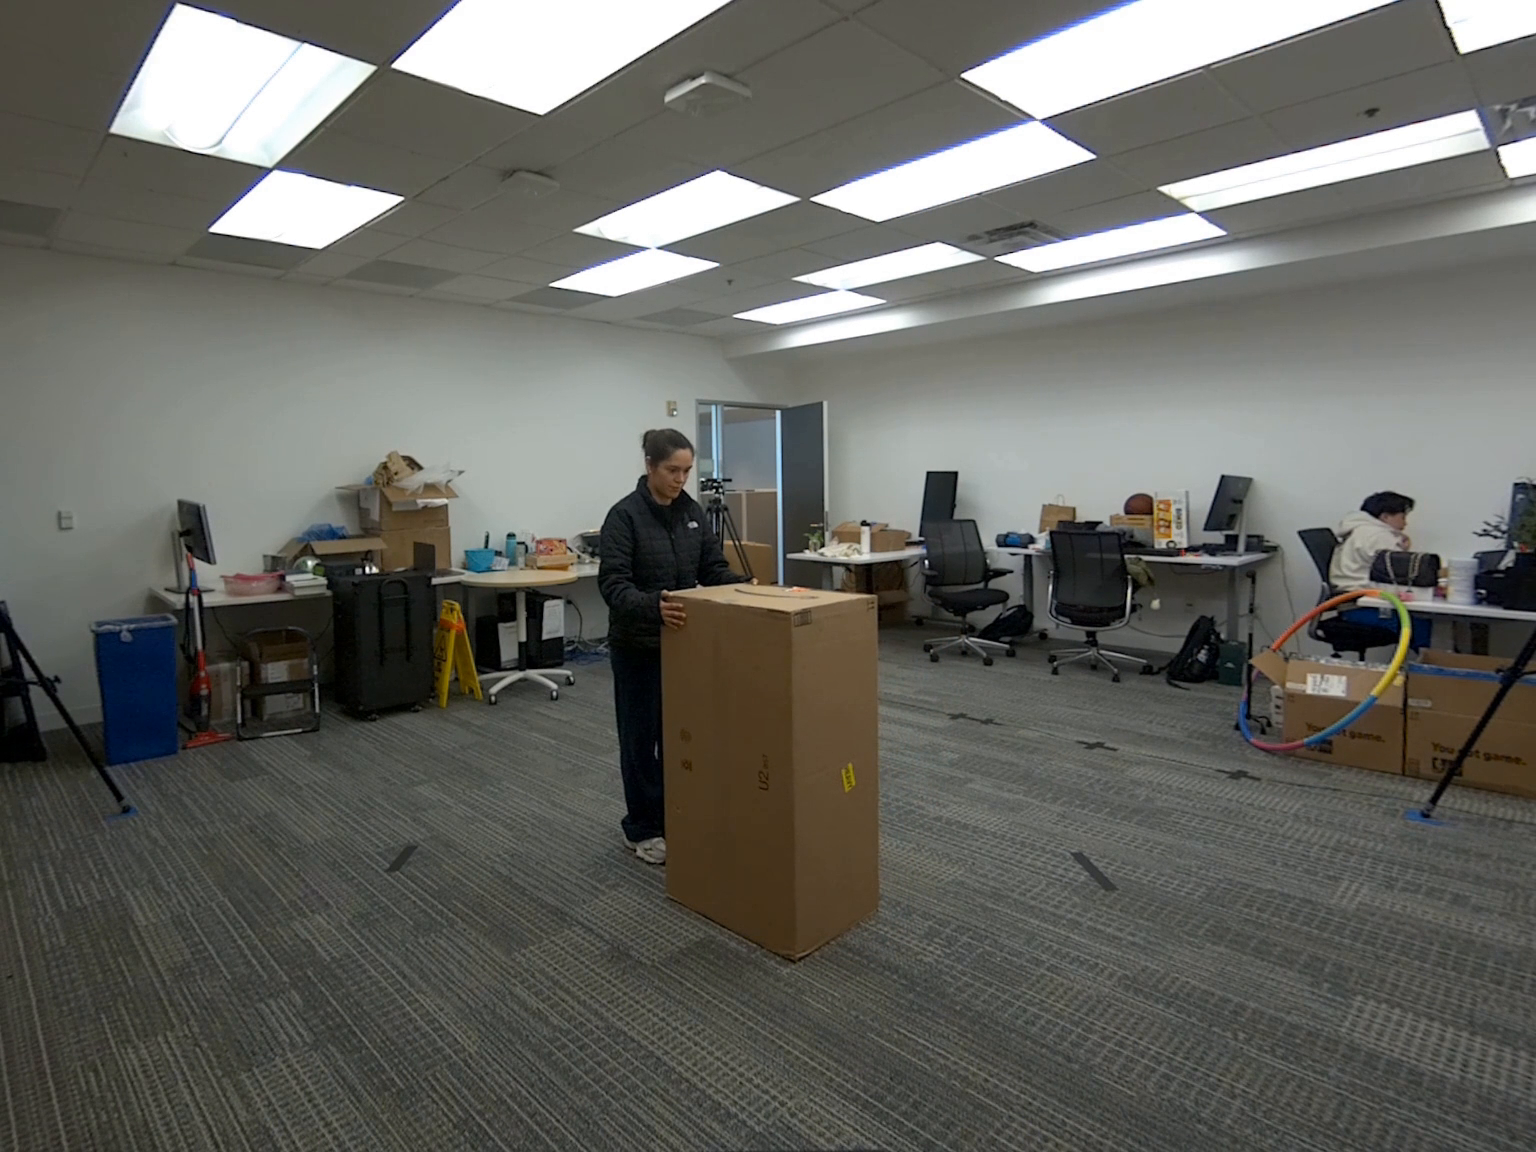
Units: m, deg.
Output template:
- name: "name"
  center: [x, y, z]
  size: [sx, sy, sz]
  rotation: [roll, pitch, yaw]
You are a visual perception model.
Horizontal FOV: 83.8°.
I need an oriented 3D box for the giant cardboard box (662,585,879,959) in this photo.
- name: "giant cardboard box"
  center: [0.008, 0.575, 2.790]
  size: [0.595, 1.023, 0.415]
  rotation: [3, 5, 44]
